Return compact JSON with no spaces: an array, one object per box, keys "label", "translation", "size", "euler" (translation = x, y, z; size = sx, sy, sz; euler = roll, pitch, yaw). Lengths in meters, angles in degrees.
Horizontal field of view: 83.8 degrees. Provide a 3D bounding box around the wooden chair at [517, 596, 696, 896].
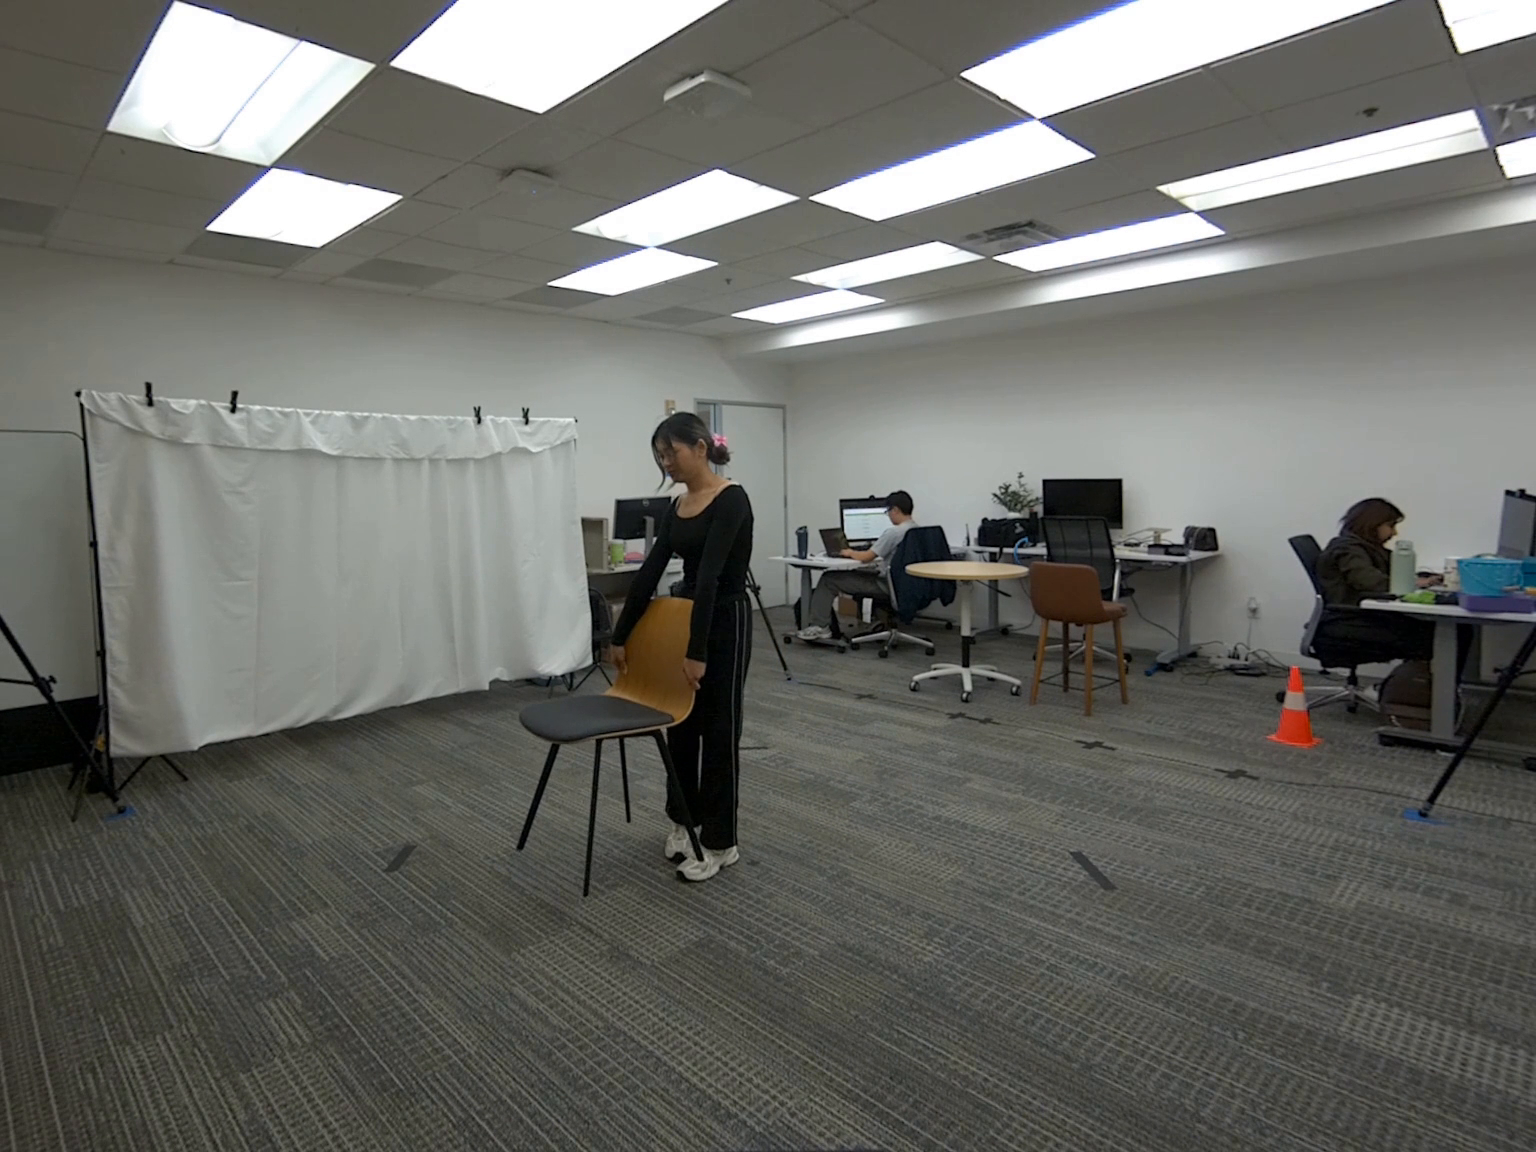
[{"label":"wooden chair","translation":[-0.522,0.506,2.825],"size":[0.507,0.878,0.493],"euler":[6,-1,-41]}]
